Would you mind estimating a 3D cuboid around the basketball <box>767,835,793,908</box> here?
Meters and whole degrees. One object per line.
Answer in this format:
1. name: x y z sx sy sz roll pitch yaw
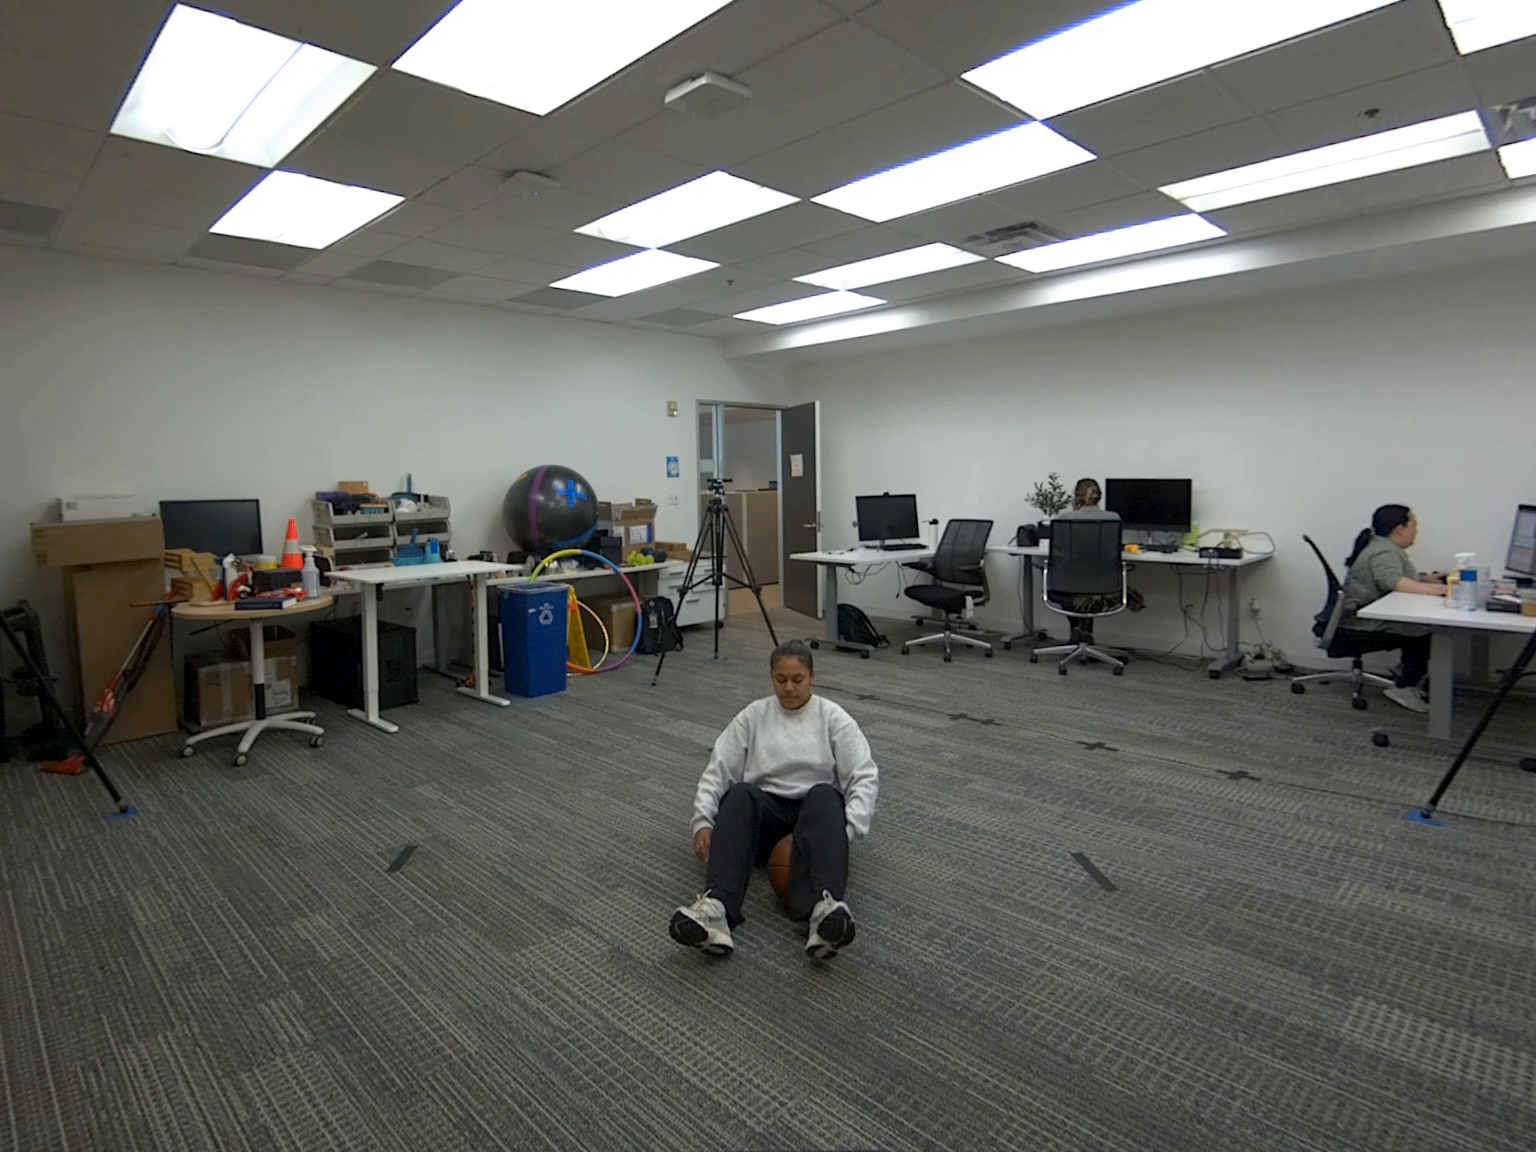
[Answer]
1. basketball: 0.116 0.957 2.794 0.236 0.235 0.237 -1 5 -2
